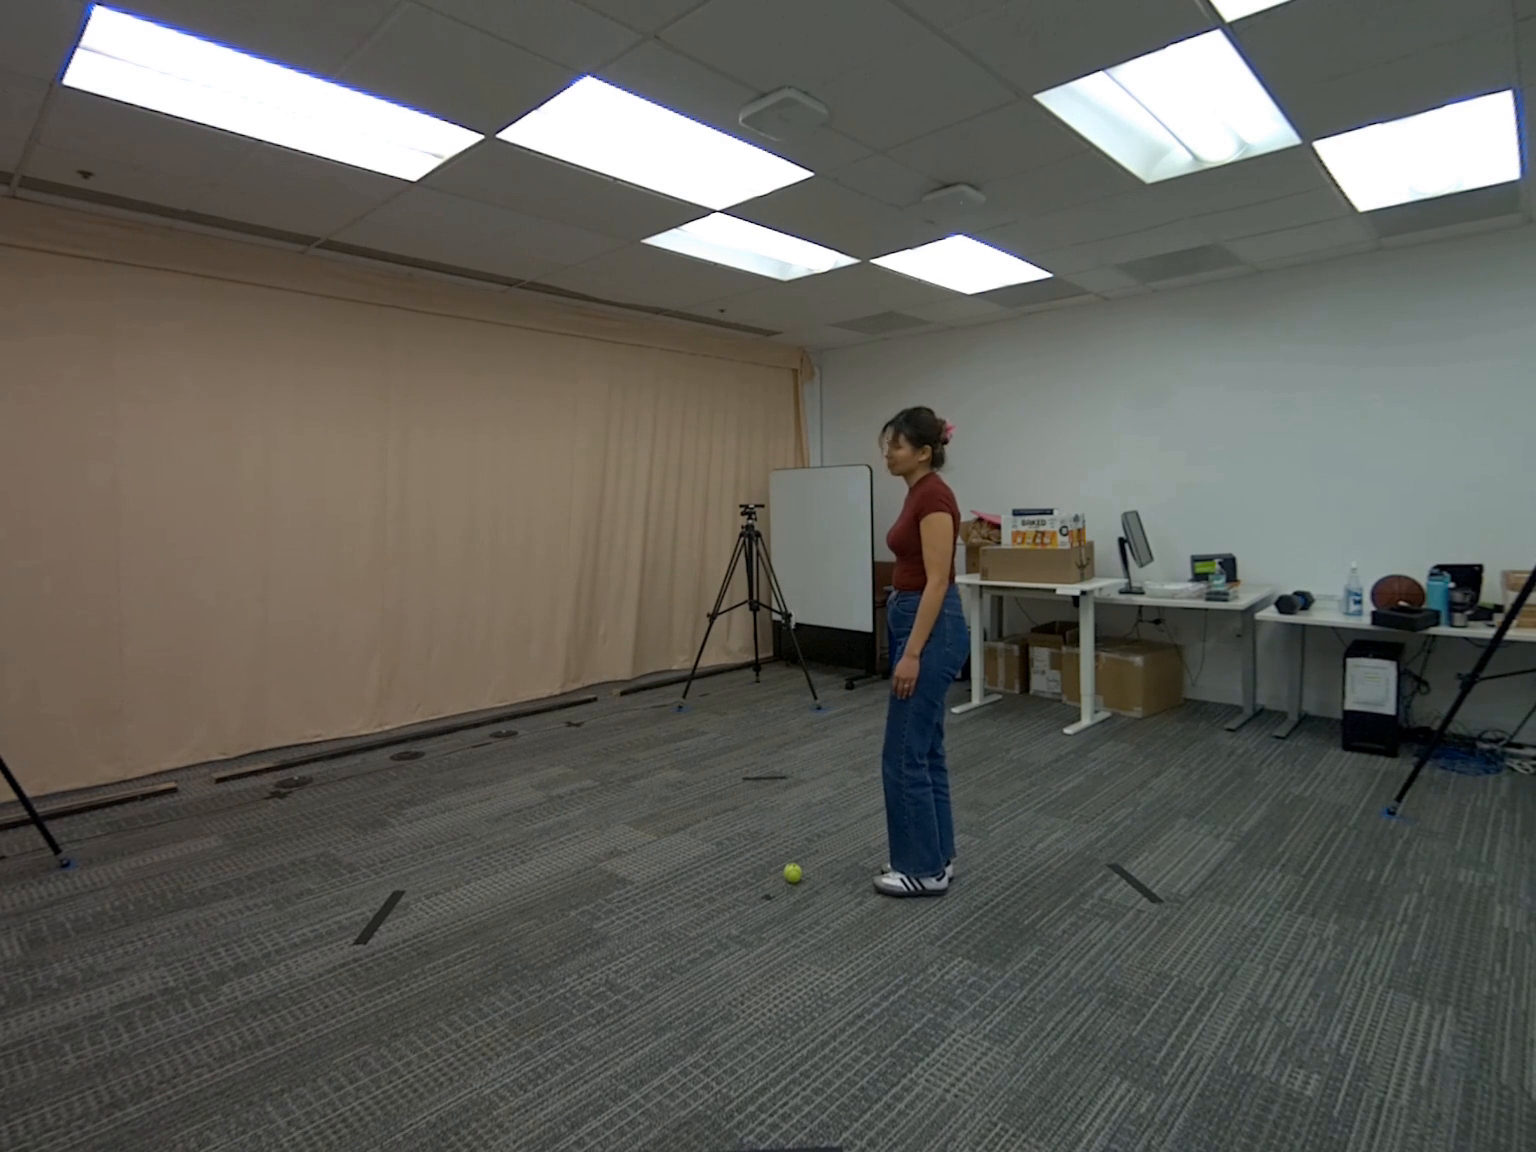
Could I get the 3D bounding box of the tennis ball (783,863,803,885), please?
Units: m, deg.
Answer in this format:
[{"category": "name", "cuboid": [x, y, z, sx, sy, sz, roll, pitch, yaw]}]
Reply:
[{"category": "tennis ball", "cuboid": [0.105, 1.089, 3.104, 0.066, 0.066, 0.067, -1, 4, -2]}]
